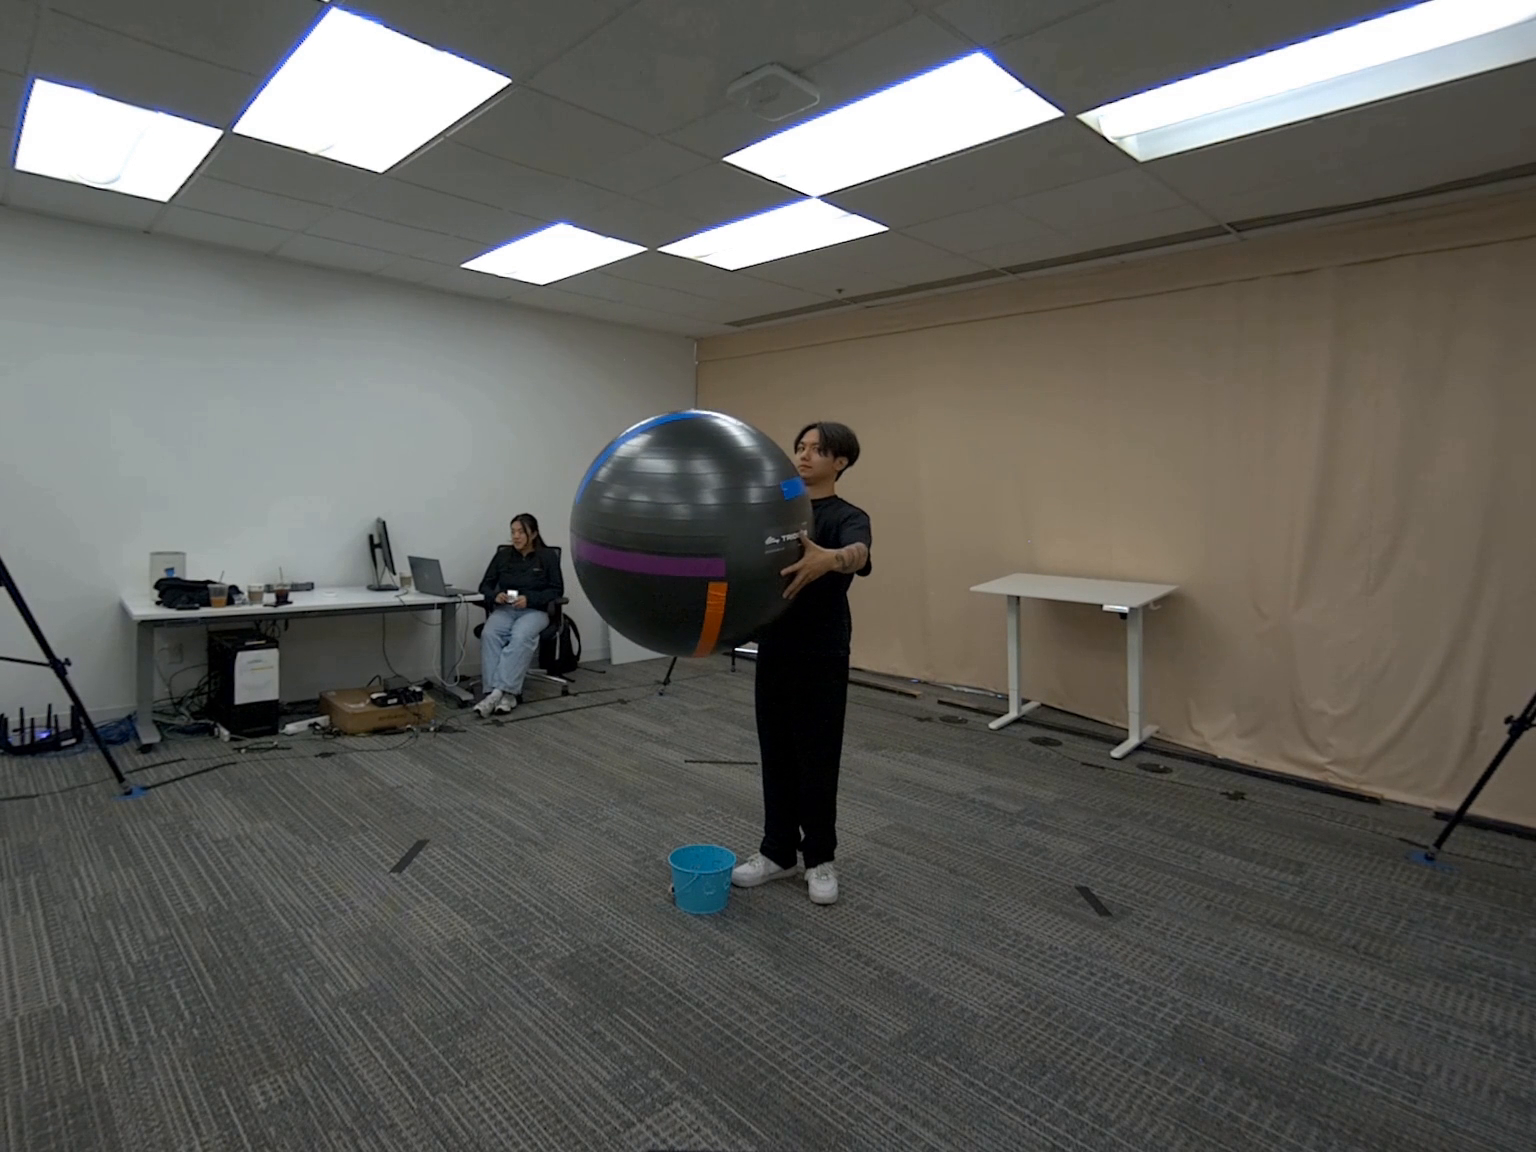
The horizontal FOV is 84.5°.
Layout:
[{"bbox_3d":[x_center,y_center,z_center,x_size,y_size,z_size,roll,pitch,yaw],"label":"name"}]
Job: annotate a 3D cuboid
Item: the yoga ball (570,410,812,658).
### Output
[{"bbox_3d":[-0.235,-0.124,2.607,0.757,0.756,0.761,1,4,-1],"label":"yoga ball"}]
